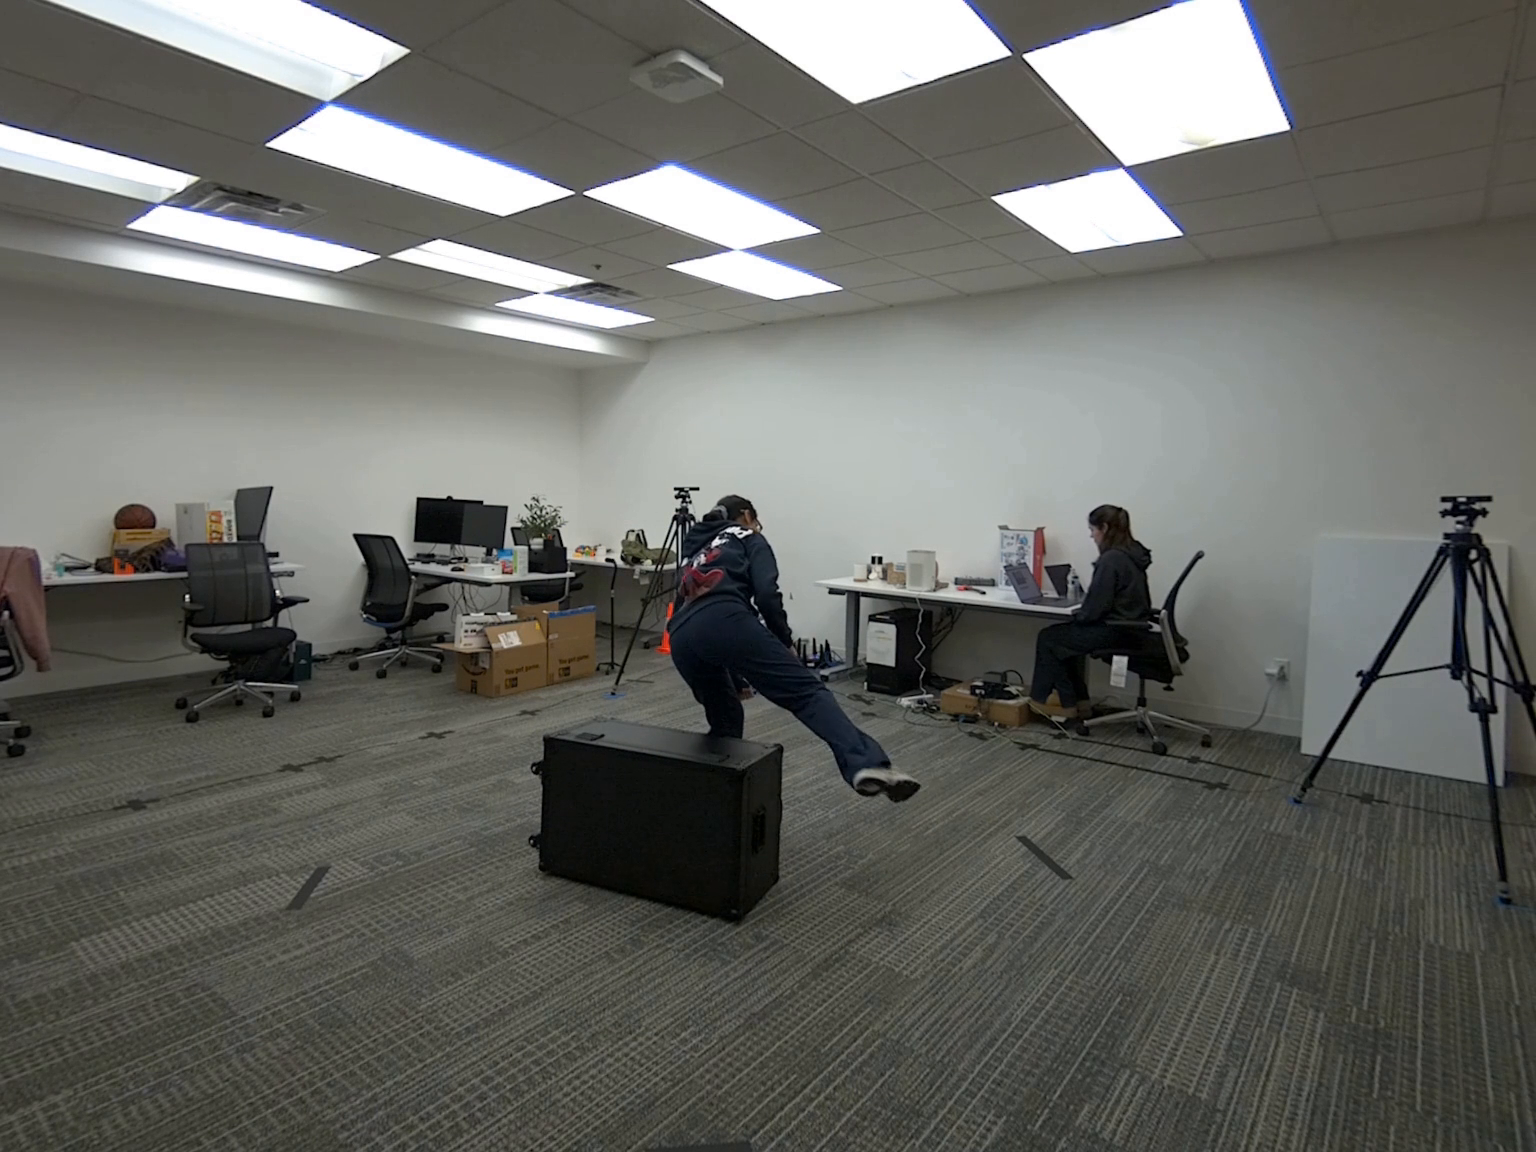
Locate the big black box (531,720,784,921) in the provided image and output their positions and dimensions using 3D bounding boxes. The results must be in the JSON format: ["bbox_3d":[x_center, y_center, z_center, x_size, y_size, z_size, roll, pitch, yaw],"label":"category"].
[{"bbox_3d":[-0.414,0.814,3.047,0.883,0.521,0.387,3,2,24],"label":"big black box"}]
